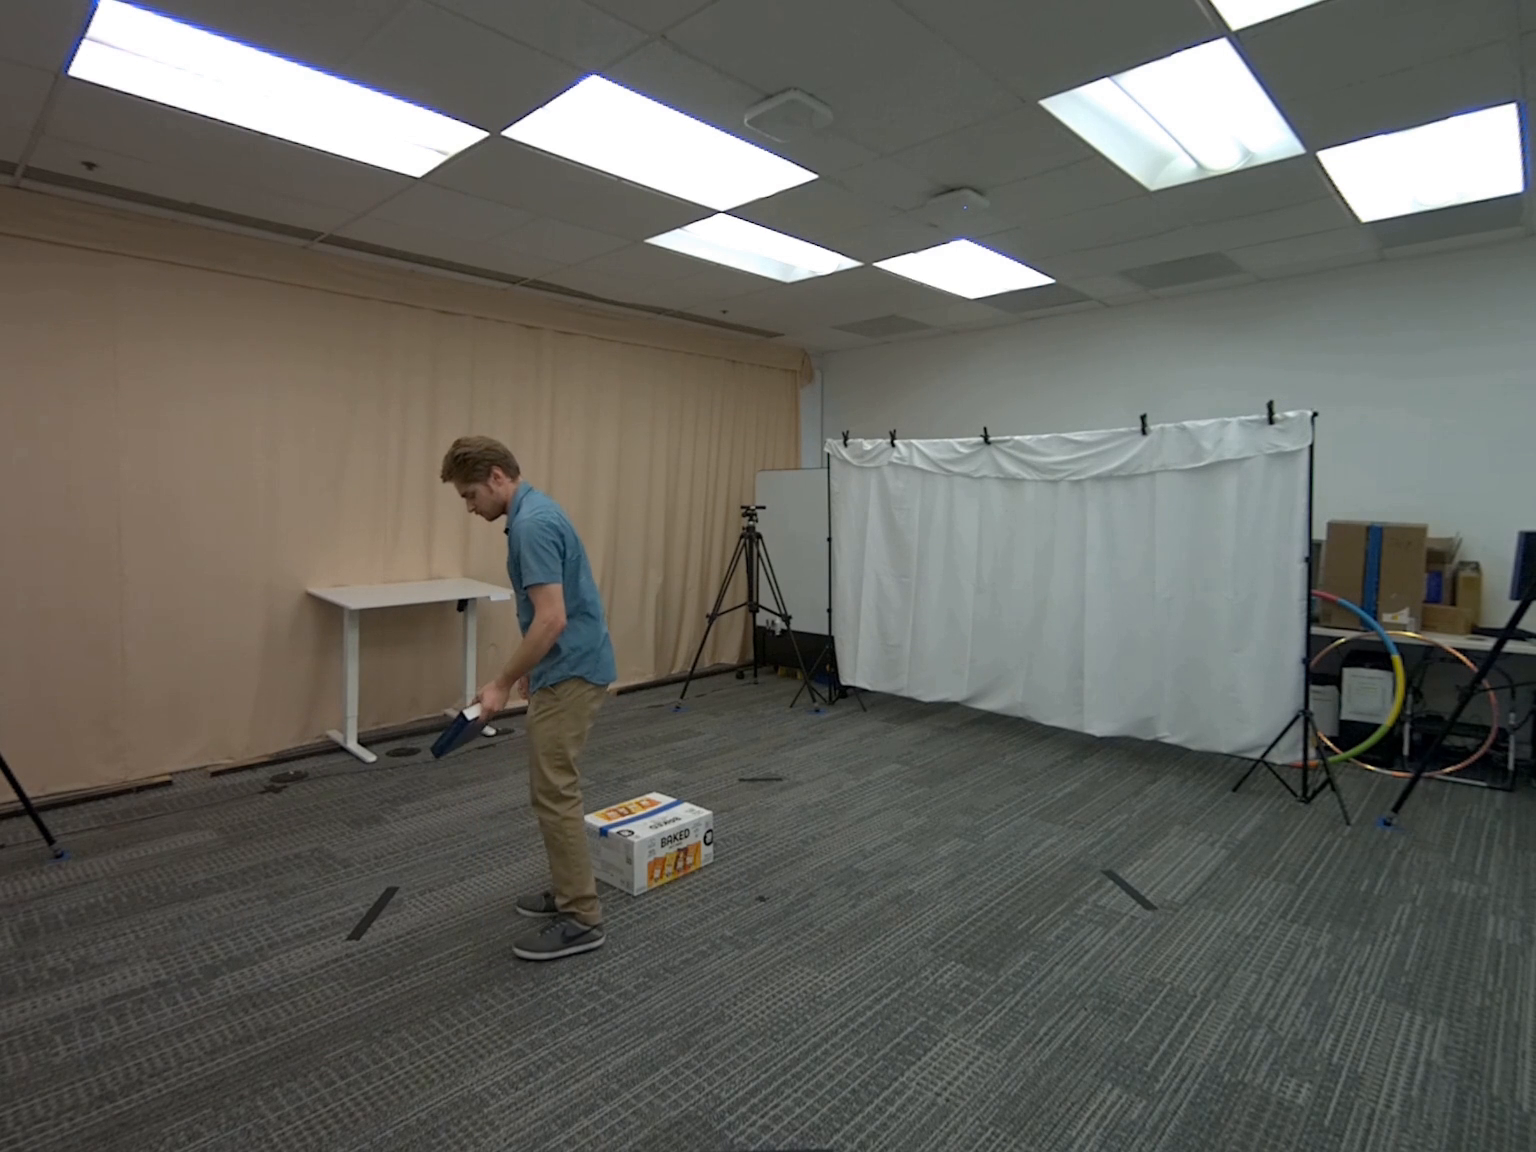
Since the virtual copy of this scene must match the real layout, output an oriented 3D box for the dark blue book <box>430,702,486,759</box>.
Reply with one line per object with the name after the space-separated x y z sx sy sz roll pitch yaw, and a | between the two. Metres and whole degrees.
-0.940 0.470 2.657 0.247 0.046 0.160 -44 -9 32 | dark blue book
